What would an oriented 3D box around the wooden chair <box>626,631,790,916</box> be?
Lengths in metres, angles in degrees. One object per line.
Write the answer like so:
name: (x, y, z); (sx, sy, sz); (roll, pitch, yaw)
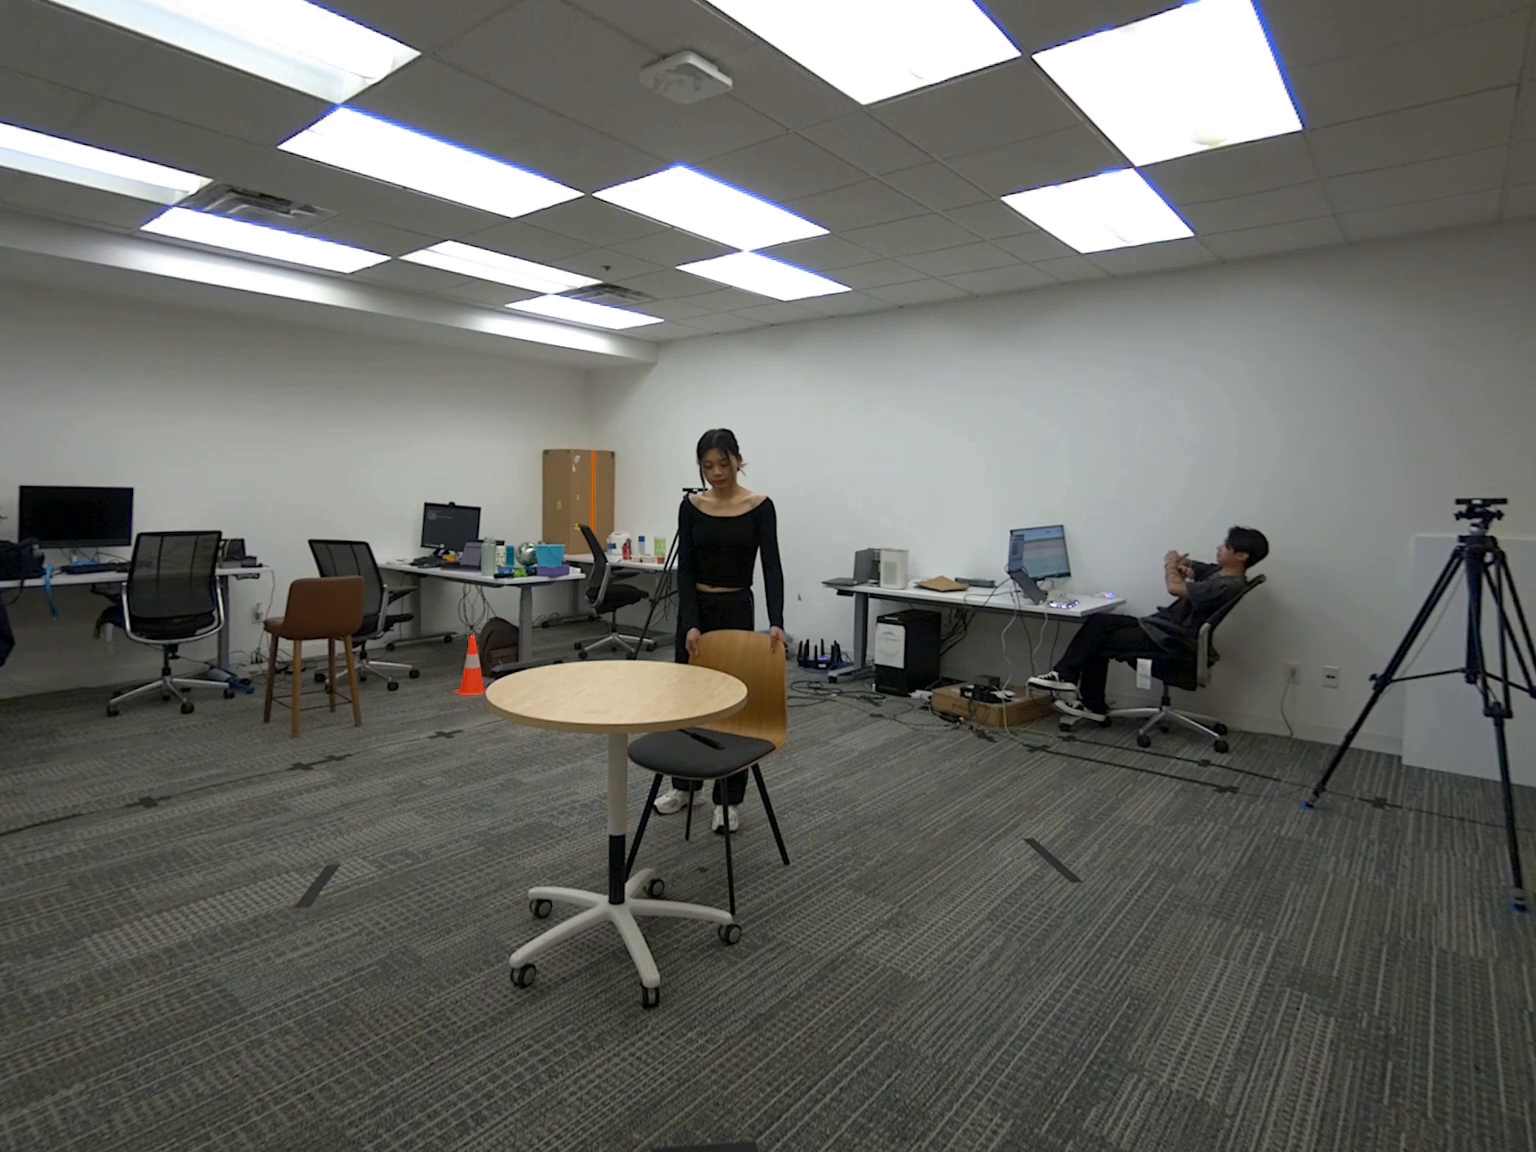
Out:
wooden chair: (-0.220, 0.646, 3.045); (0.491, 0.878, 0.508); (3, -1, 27)
